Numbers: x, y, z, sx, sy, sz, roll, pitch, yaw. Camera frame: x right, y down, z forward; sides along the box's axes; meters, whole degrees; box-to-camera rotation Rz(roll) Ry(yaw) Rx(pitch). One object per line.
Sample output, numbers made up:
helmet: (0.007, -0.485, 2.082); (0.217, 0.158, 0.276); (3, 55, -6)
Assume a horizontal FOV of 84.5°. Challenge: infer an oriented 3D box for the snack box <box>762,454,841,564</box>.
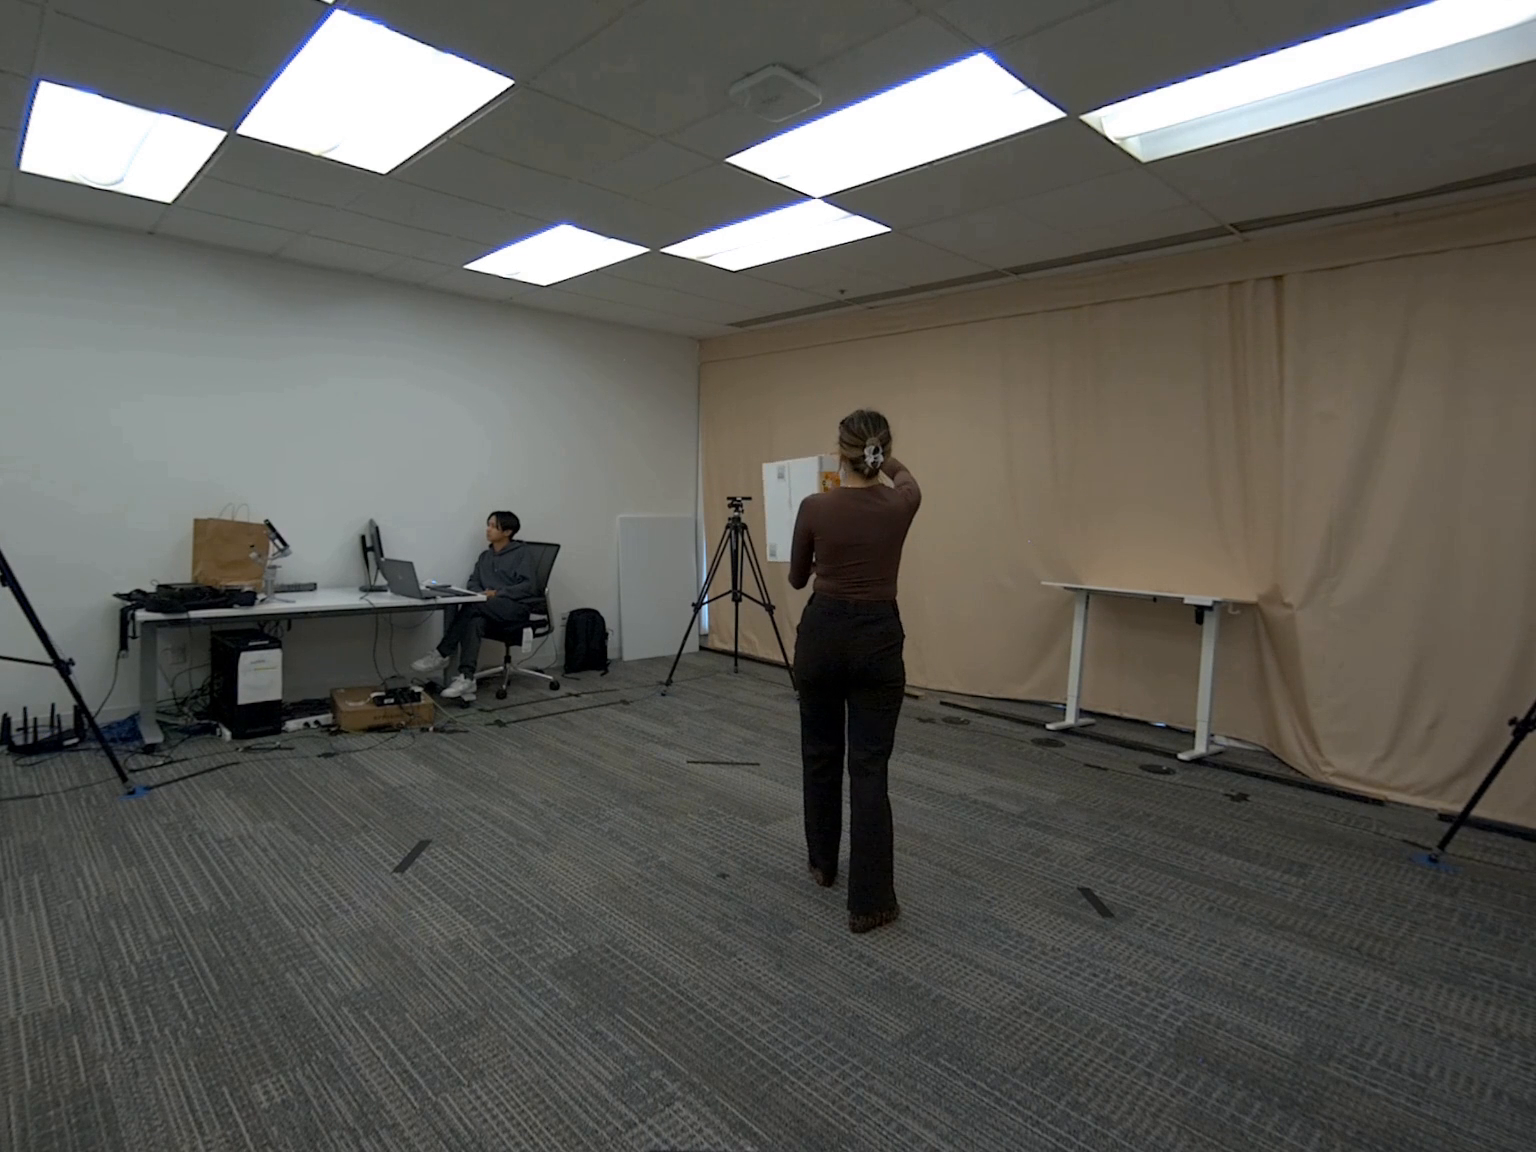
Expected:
snack box: (0.162, -0.264, 3.359); (0.201, 0.404, 0.348); (-5, 3, -38)
